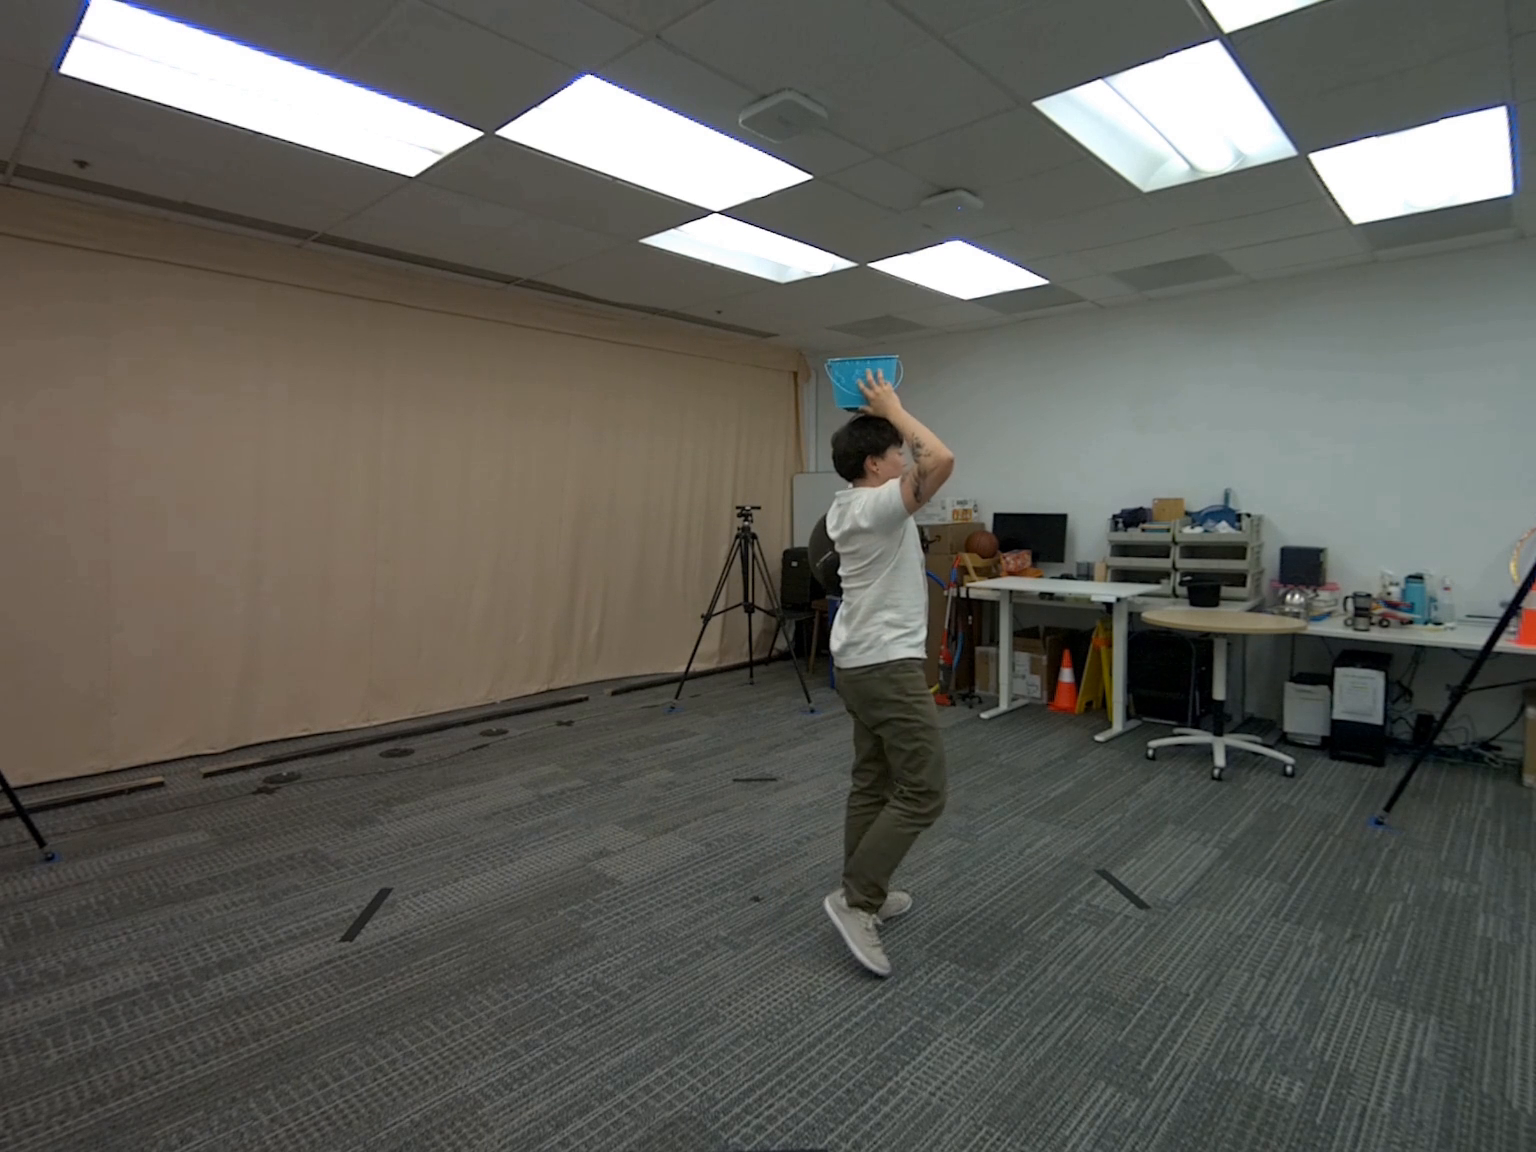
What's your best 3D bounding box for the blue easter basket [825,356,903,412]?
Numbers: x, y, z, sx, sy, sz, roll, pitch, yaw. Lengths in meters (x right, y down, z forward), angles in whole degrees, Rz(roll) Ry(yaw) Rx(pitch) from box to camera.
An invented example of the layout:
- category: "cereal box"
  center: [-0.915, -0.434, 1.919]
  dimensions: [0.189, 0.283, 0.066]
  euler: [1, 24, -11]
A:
- category: "blue easter basket"
  center: [0.320, -0.629, 2.731]
  dimensions: [0.243, 0.155, 0.245]
  euler: [-1, 12, -2]
